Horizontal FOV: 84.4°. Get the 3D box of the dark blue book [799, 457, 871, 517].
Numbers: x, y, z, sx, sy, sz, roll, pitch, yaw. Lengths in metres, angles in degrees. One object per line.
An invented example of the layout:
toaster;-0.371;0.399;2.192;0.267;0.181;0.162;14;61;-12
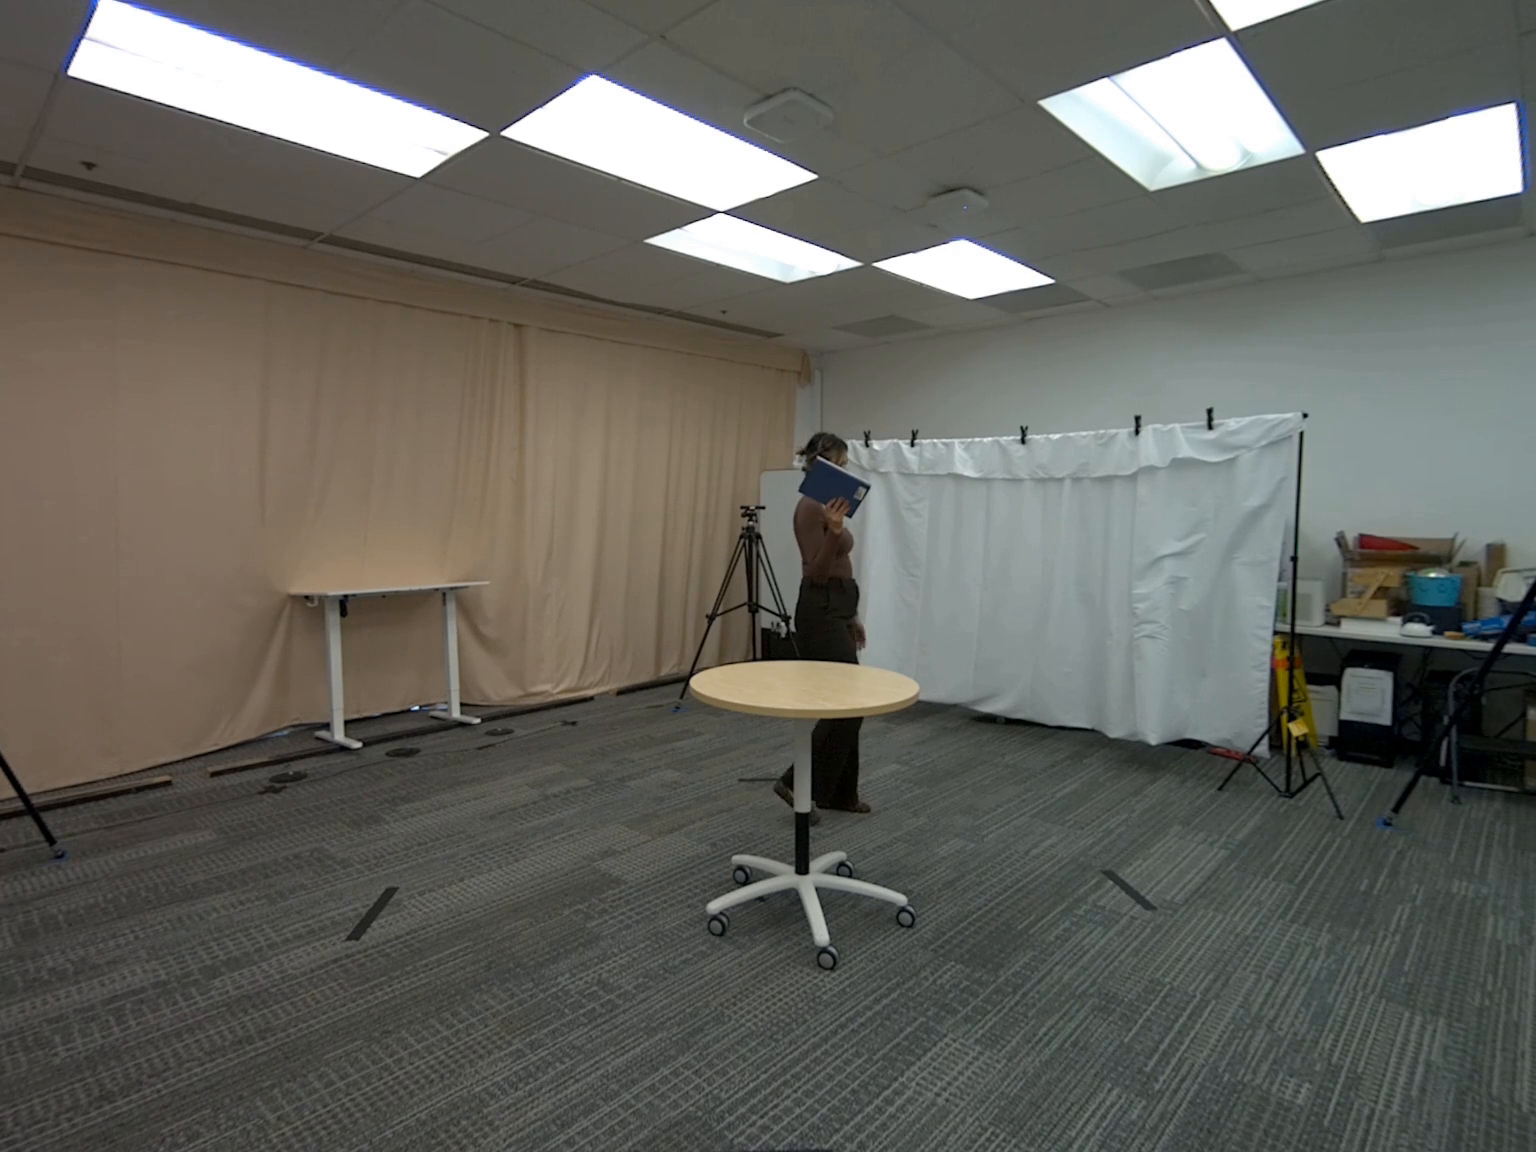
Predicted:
dark blue book;0.268;-0.355;3.370;0.245;0.163;0.045;28;29;0
